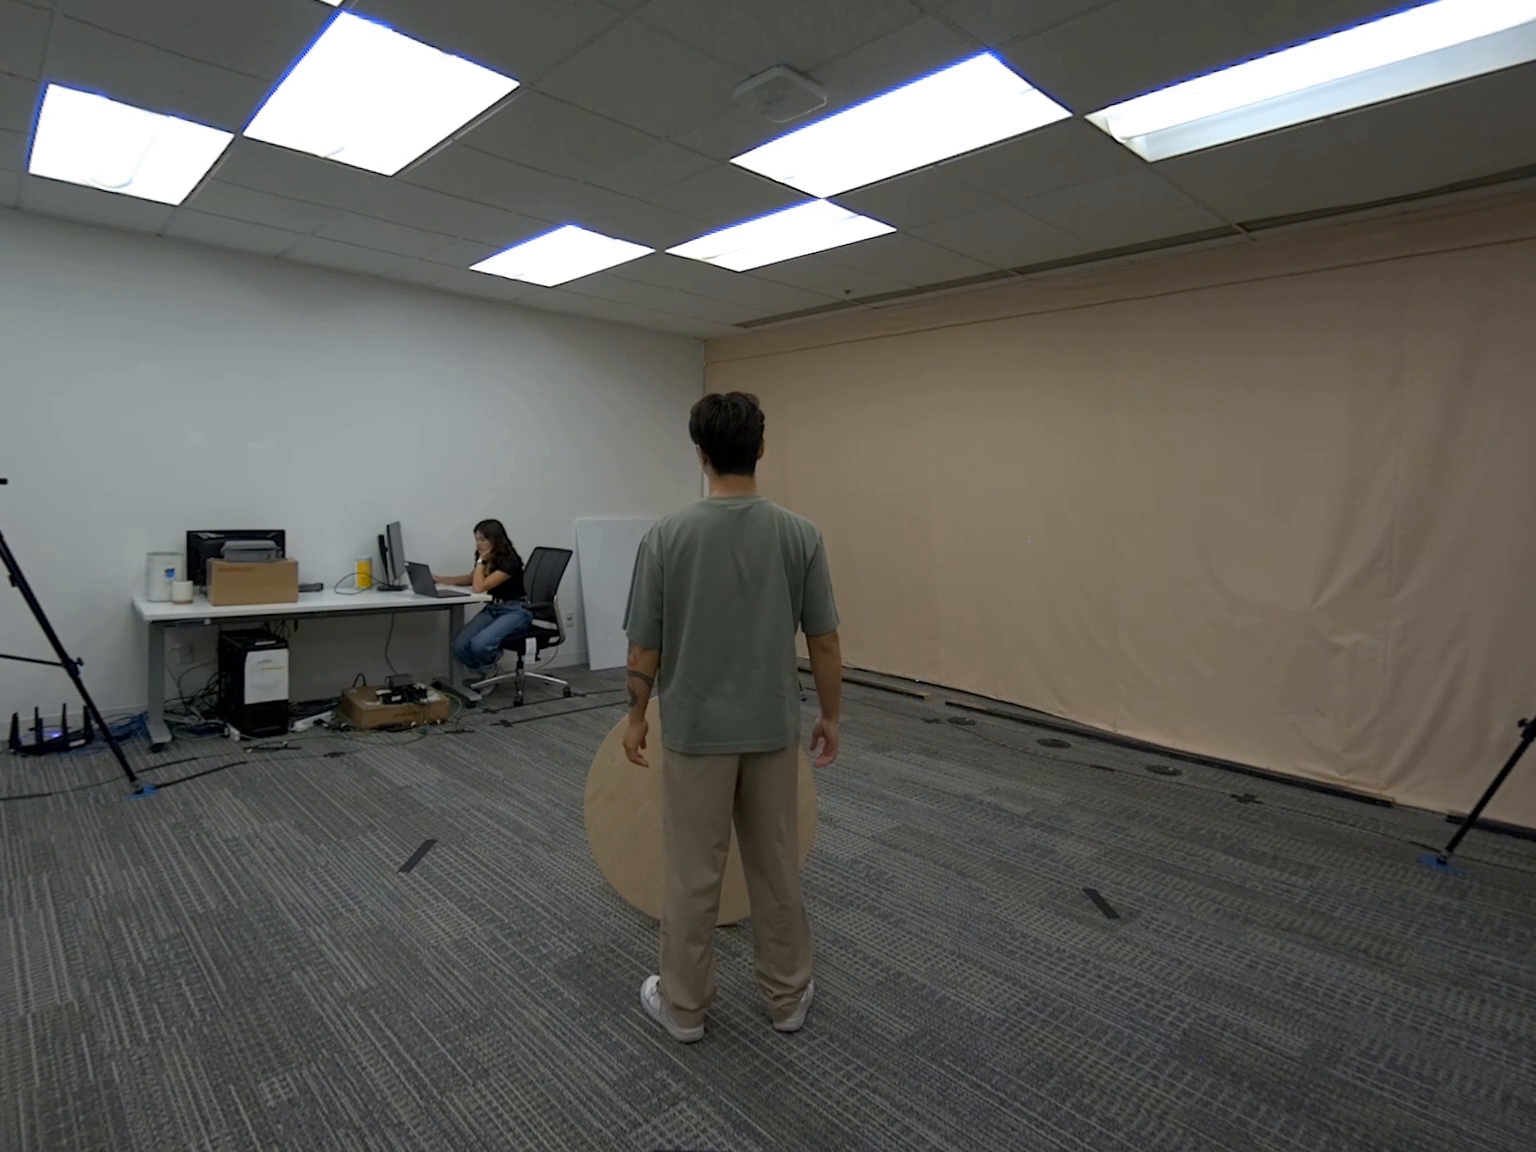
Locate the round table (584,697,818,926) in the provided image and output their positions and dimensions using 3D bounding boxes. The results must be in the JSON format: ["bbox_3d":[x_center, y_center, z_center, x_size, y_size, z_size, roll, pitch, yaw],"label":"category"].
[{"bbox_3d":[-0.254,0.760,3.148,0.783,0.786,0.787,1,-2,-3],"label":"round table"}]
